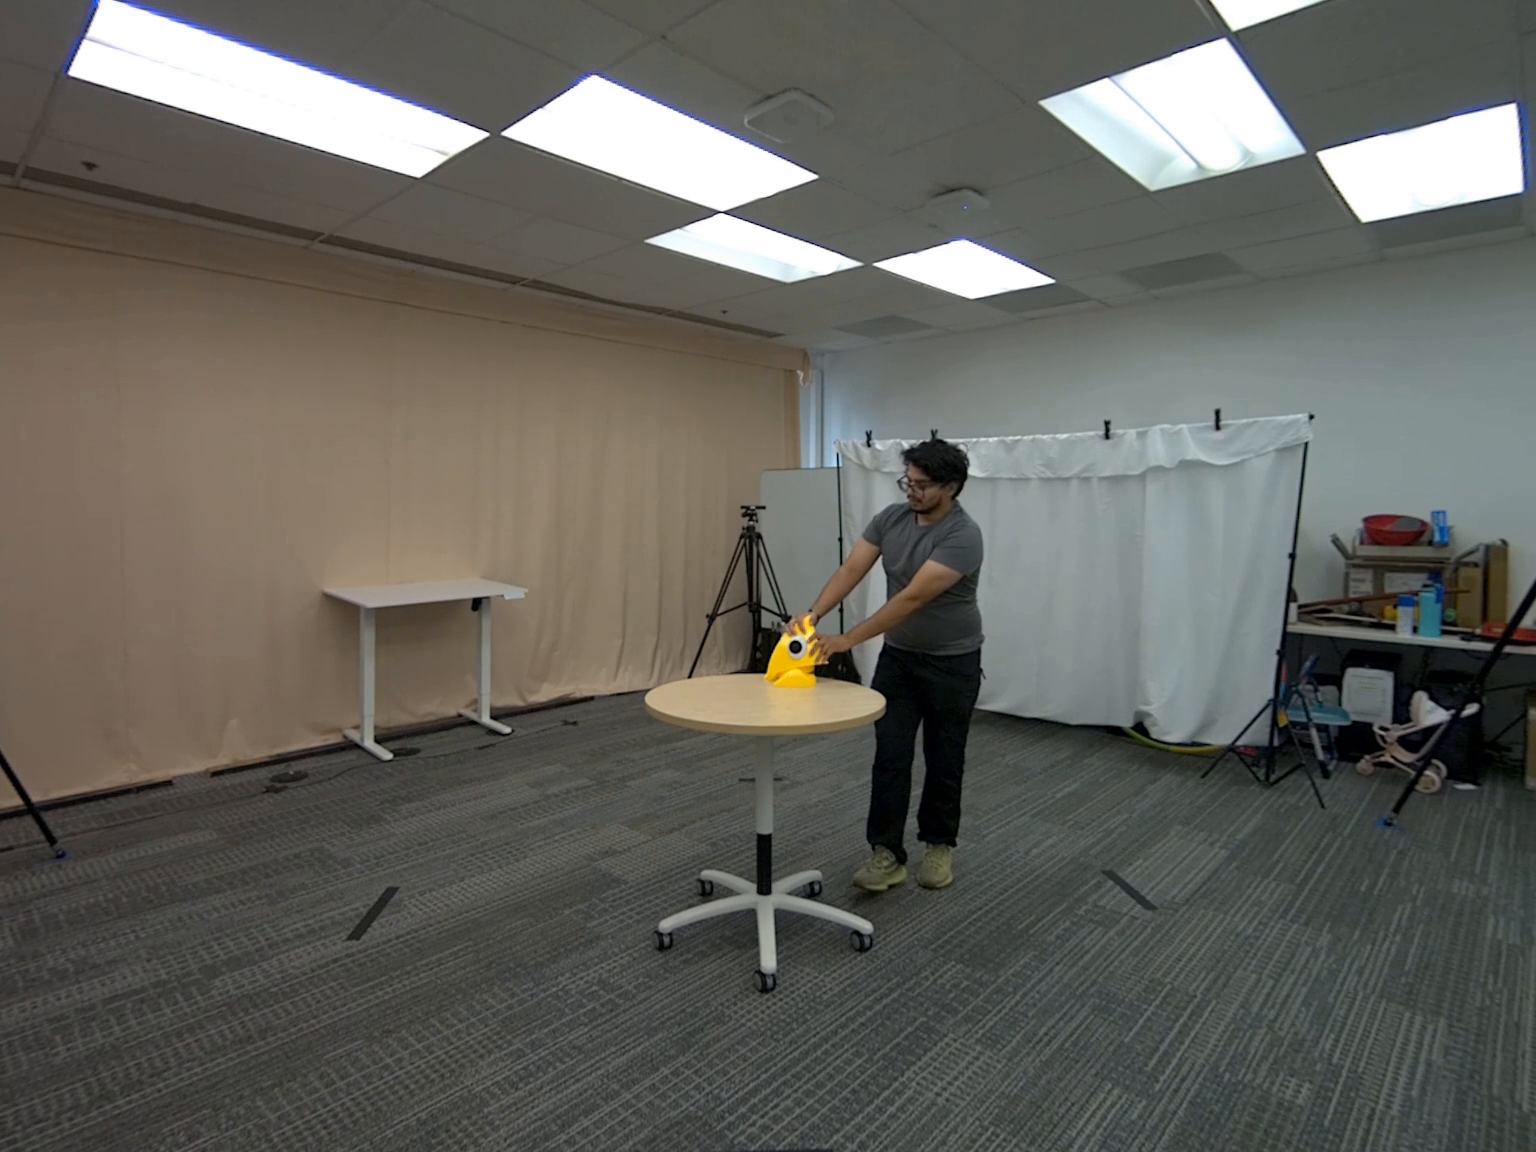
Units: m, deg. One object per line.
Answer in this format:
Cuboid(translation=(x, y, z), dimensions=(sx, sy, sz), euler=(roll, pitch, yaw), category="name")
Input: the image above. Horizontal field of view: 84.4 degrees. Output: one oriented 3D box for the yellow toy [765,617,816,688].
Cuboid(translation=(0.089, 0.255, 2.936), dimensions=(0.190, 0.230, 0.208), euler=(-1, 3, -15), category="yellow toy")
